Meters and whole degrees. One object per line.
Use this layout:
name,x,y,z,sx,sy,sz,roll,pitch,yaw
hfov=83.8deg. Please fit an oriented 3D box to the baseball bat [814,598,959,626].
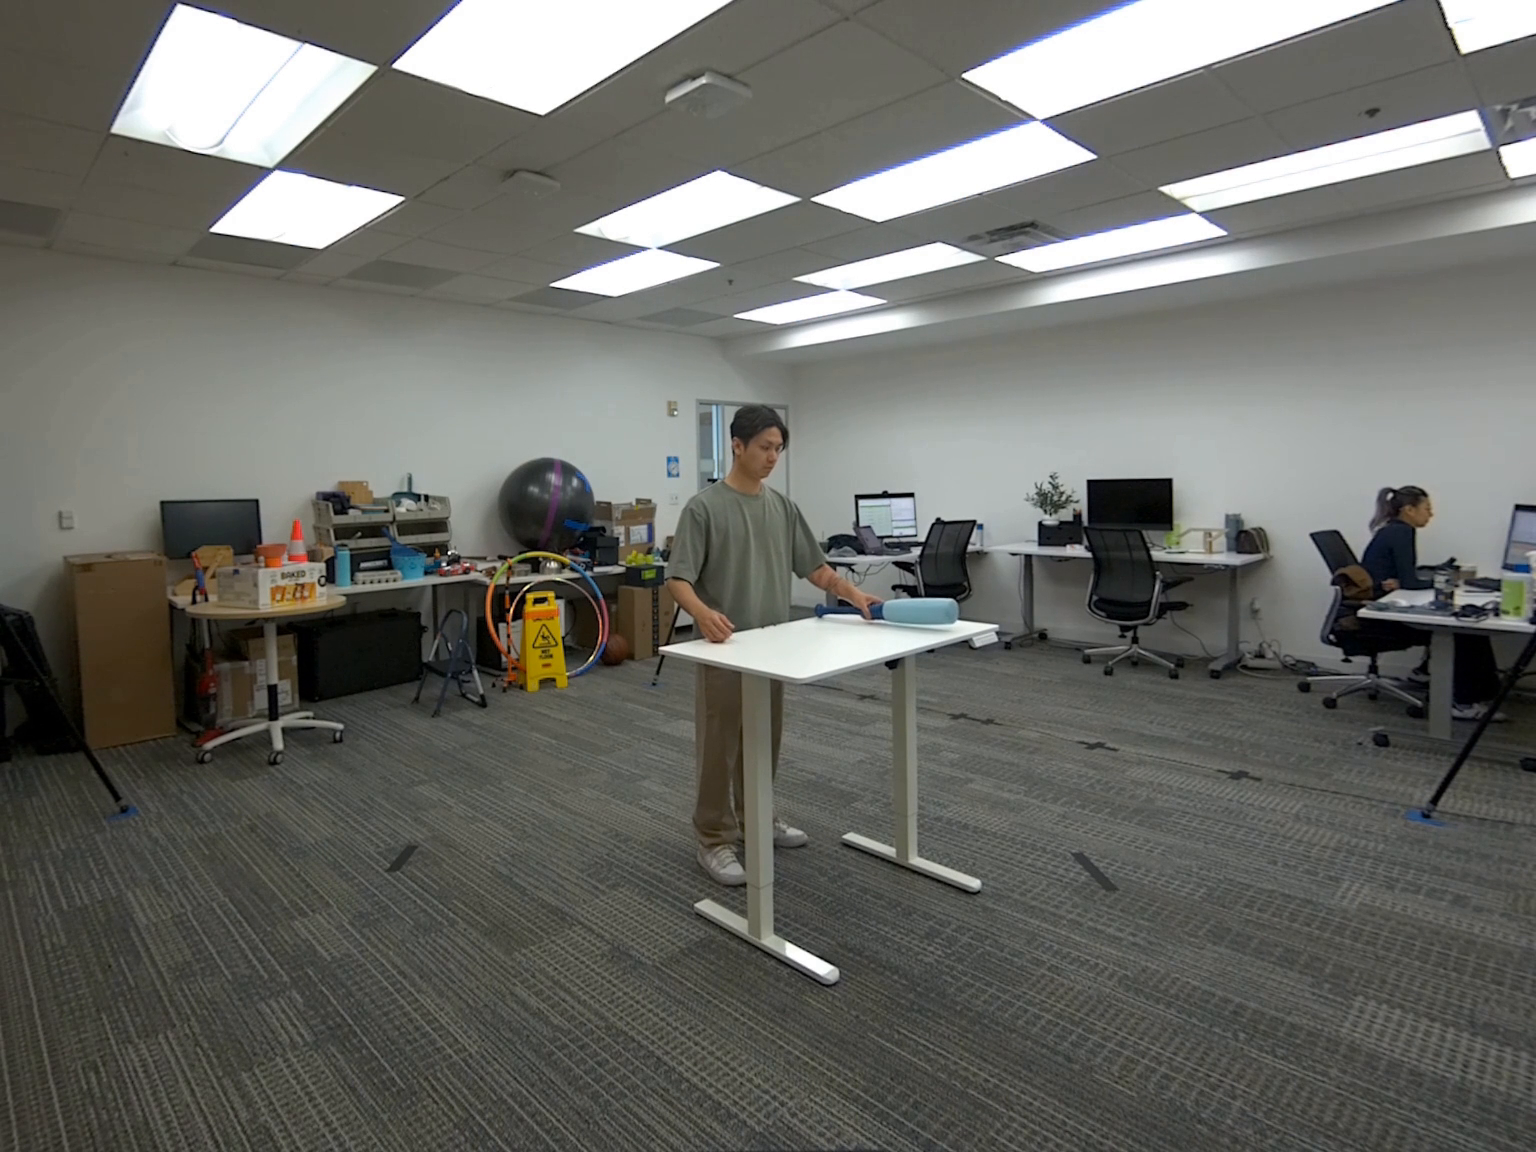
baseball bat,0.398,0.128,2.950,0.557,0.089,0.087,-3,3,38
